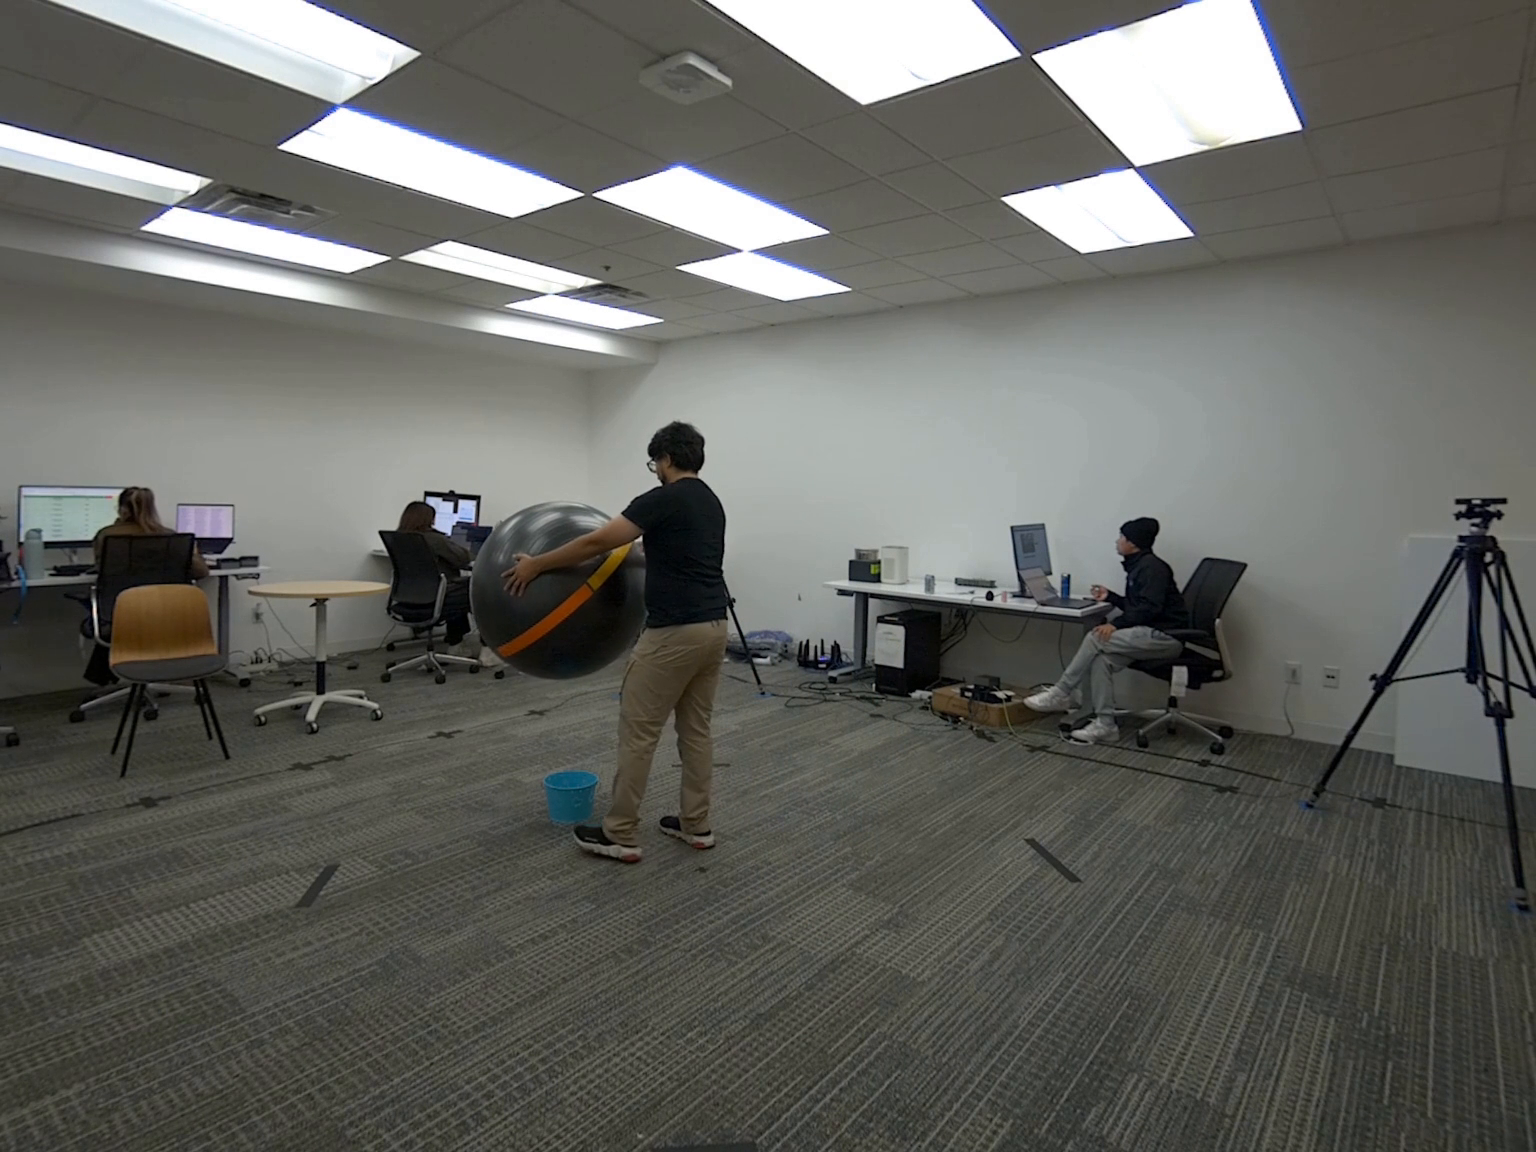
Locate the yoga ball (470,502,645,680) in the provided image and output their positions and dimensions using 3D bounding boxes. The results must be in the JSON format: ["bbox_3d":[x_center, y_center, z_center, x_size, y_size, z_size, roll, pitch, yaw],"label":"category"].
[{"bbox_3d":[-0.909,0.062,3.659,0.757,0.756,0.762,1,4,-2],"label":"yoga ball"}]
